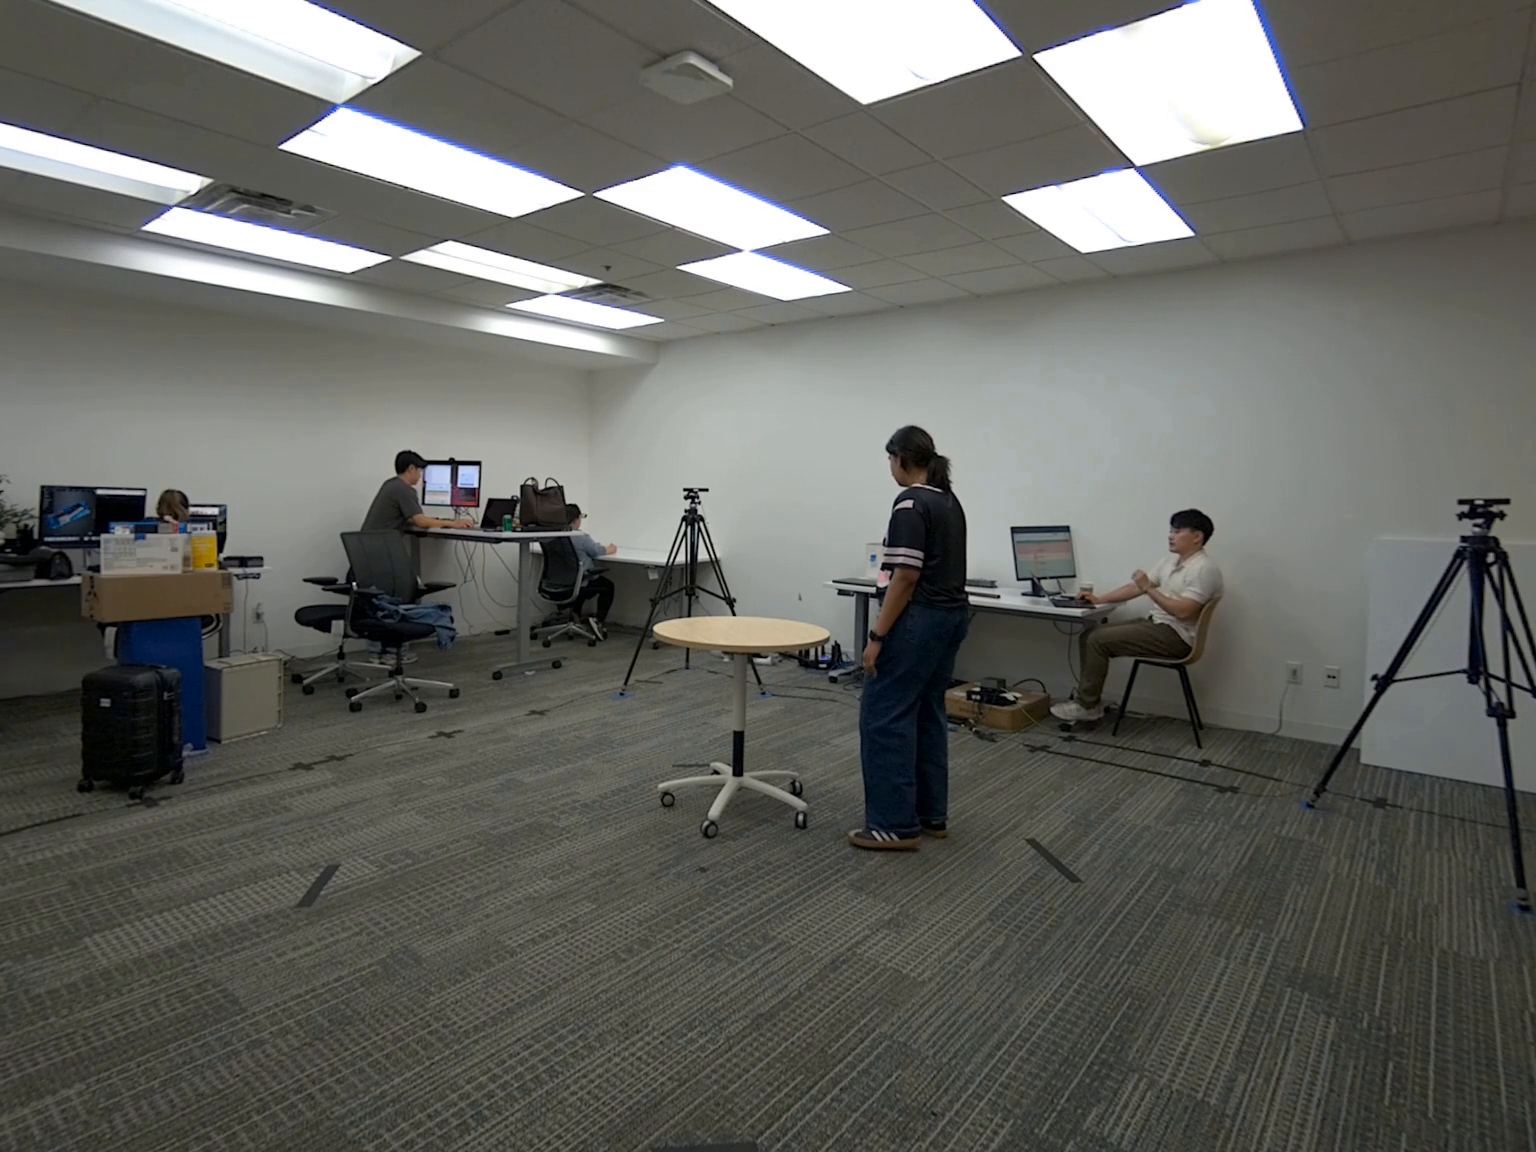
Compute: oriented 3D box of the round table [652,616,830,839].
[{"bbox_3d":[-0.140,0.626,3.721,0.763,0.792,0.767,1,4,-2],"label":"round table"}]
